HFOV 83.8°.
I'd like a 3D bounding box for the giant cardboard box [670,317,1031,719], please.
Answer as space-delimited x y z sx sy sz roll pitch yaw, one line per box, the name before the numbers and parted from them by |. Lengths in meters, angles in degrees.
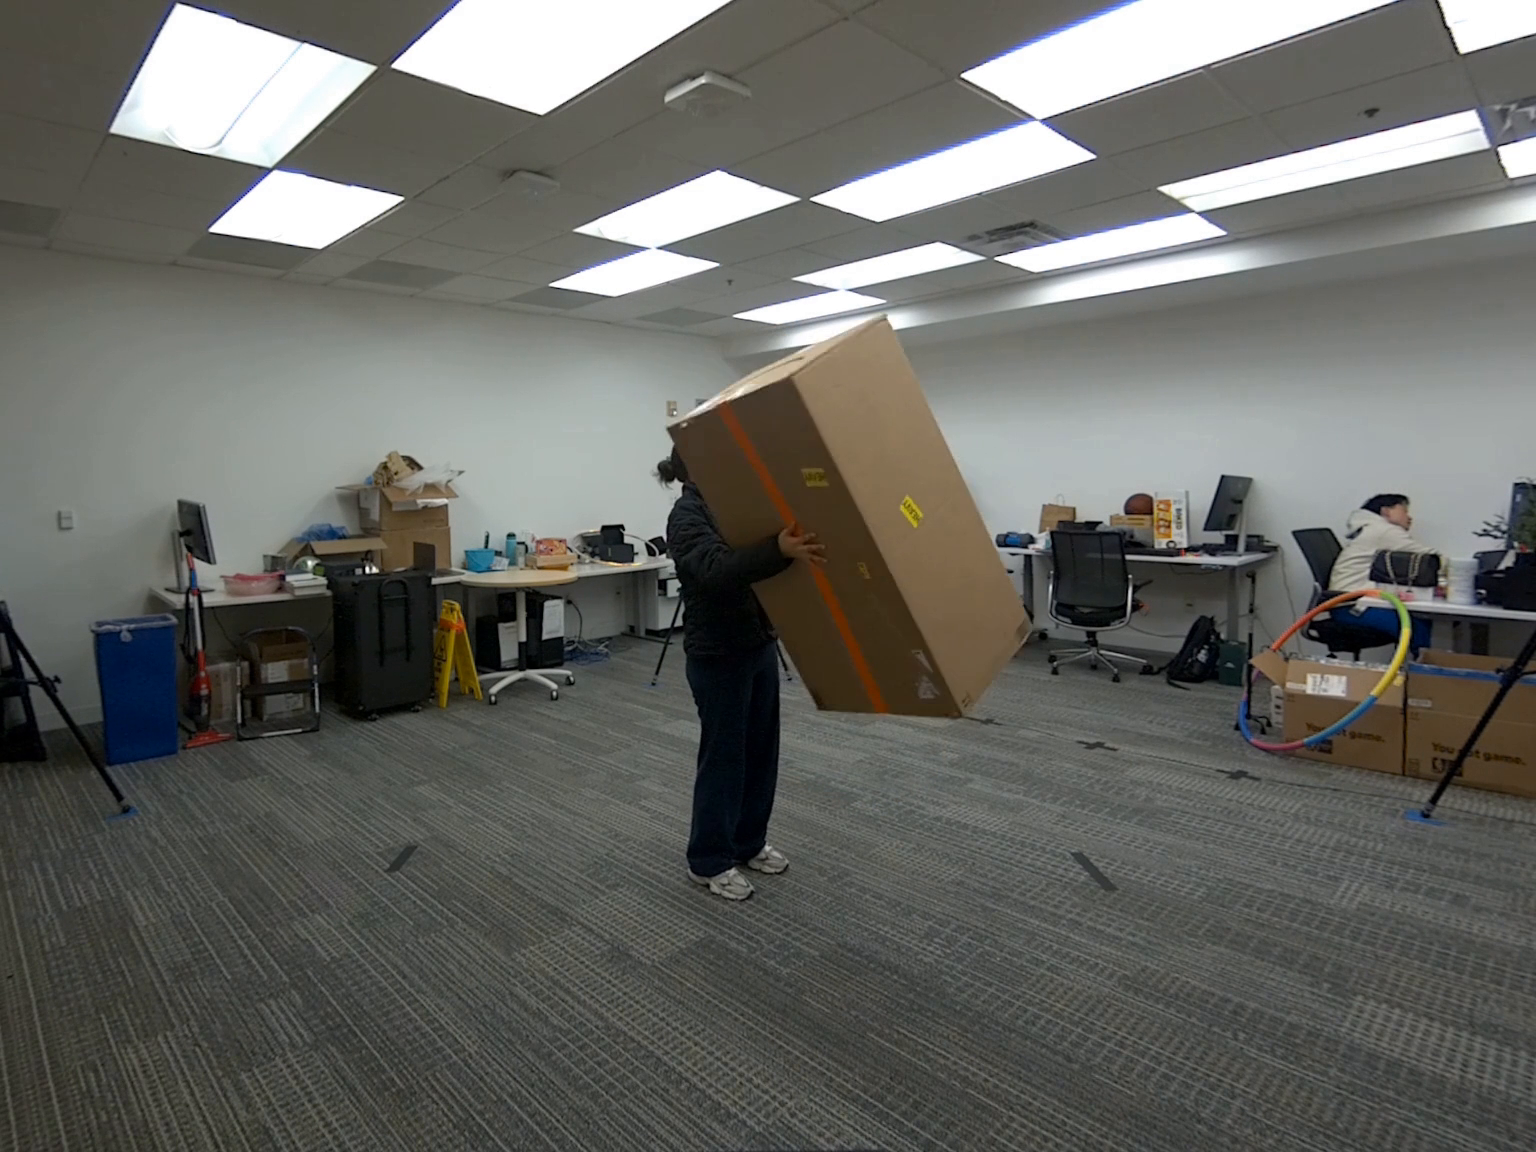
giant cardboard box | 0.236 -0.139 2.519 0.423 1.009 0.590 -38 16 -35
